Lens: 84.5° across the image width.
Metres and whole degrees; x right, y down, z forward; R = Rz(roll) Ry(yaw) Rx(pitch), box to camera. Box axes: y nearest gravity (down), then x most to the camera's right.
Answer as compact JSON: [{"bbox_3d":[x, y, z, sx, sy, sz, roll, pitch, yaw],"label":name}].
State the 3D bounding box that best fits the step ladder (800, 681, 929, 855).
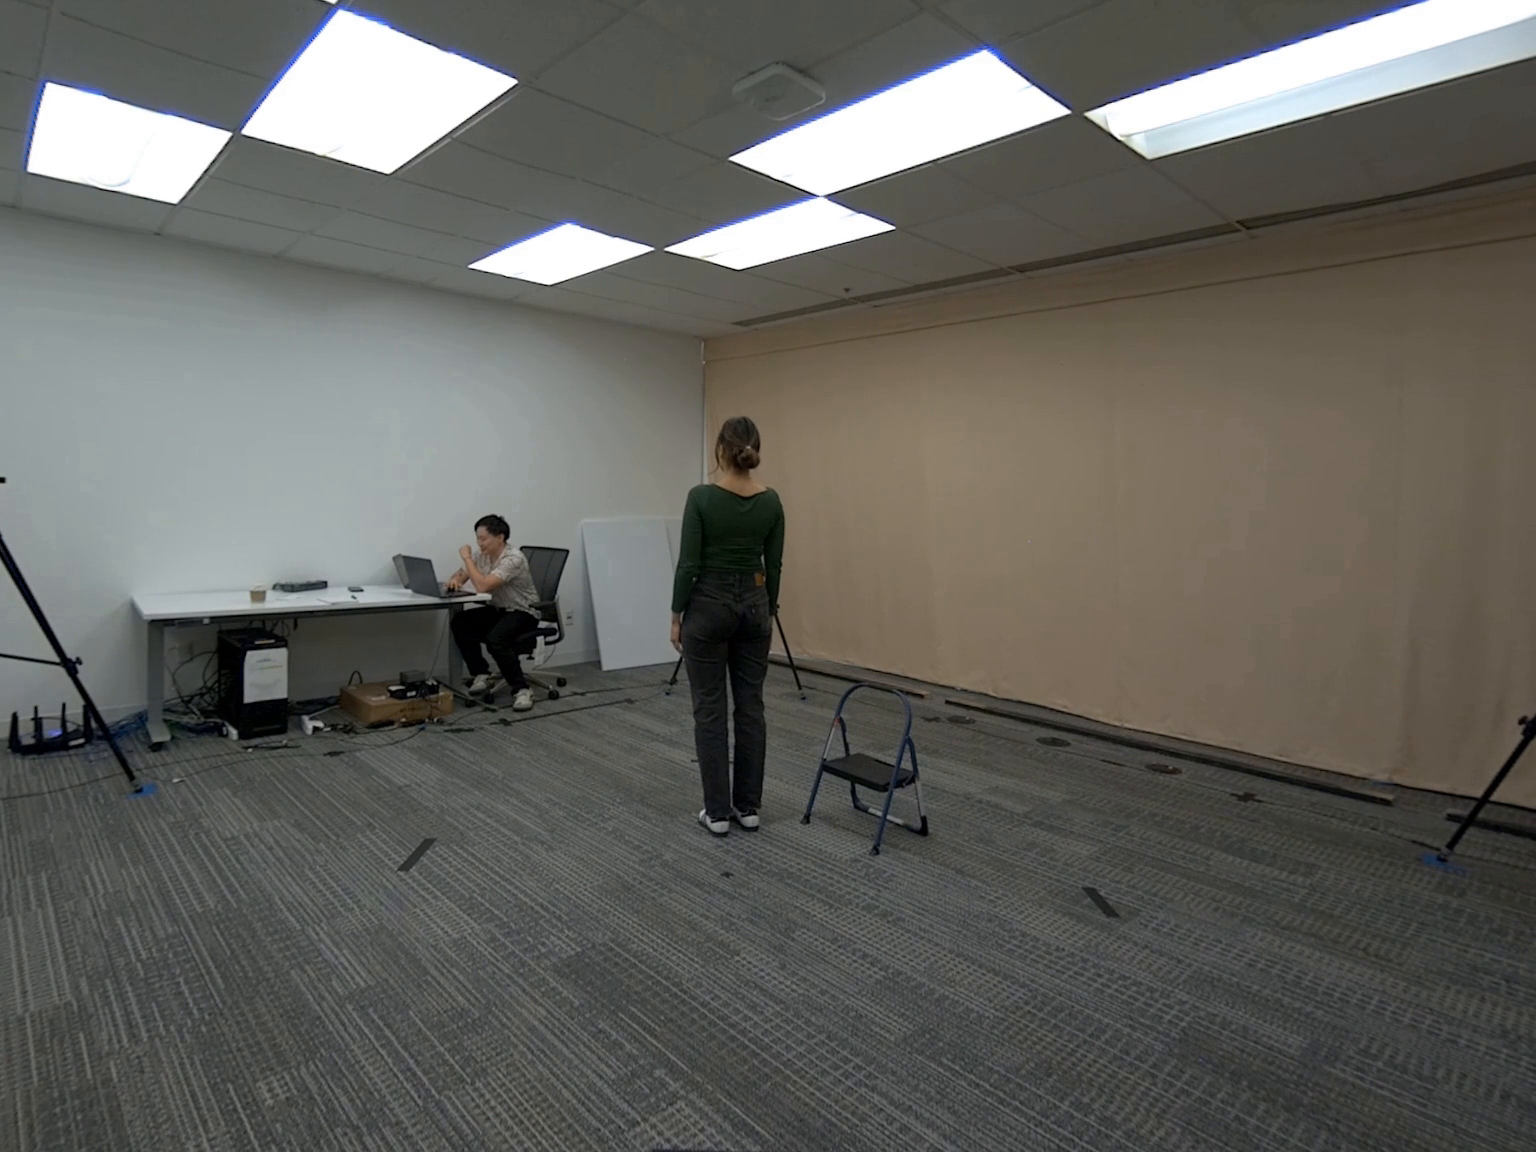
[{"bbox_3d":[0.408,0.774,3.554,0.341,0.604,0.442,-1,5,-40],"label":"step ladder"}]
